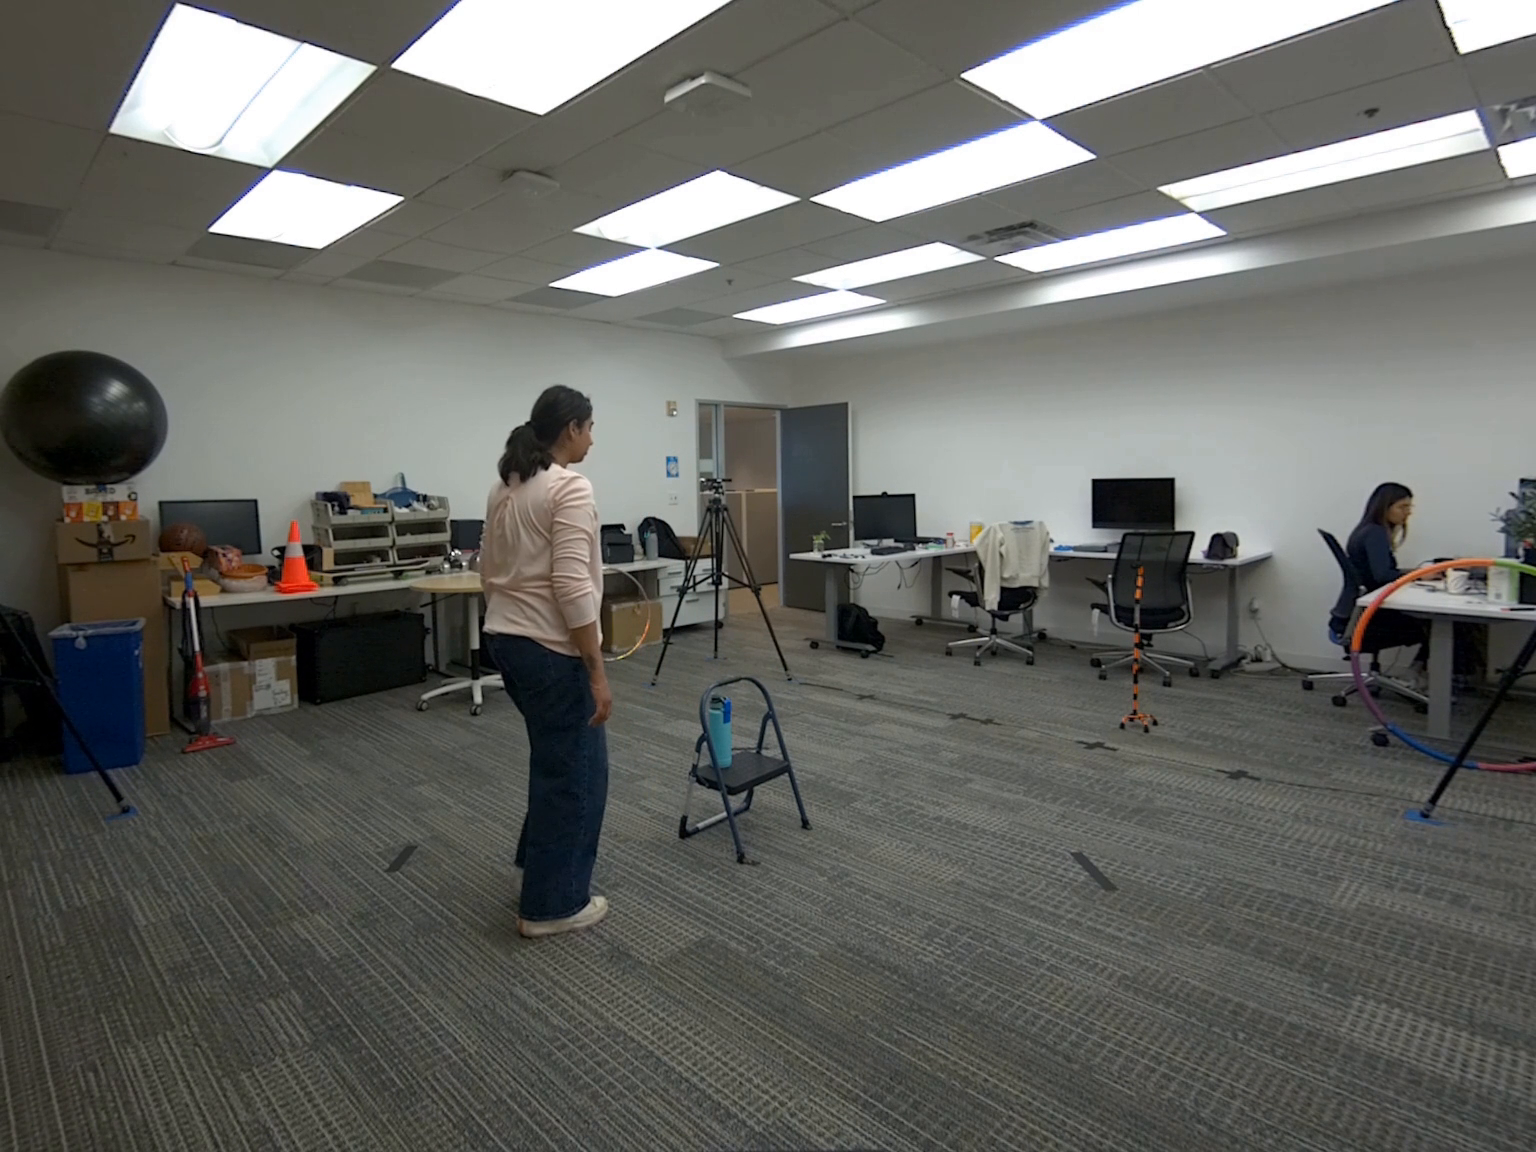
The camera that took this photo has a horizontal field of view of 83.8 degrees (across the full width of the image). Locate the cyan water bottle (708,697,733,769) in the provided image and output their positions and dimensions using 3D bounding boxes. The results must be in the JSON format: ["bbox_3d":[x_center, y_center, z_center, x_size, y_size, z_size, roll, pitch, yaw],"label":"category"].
[{"bbox_3d":[-0.188,0.615,3.391,0.092,0.283,0.092,-1,0,-2],"label":"cyan water bottle"}]
